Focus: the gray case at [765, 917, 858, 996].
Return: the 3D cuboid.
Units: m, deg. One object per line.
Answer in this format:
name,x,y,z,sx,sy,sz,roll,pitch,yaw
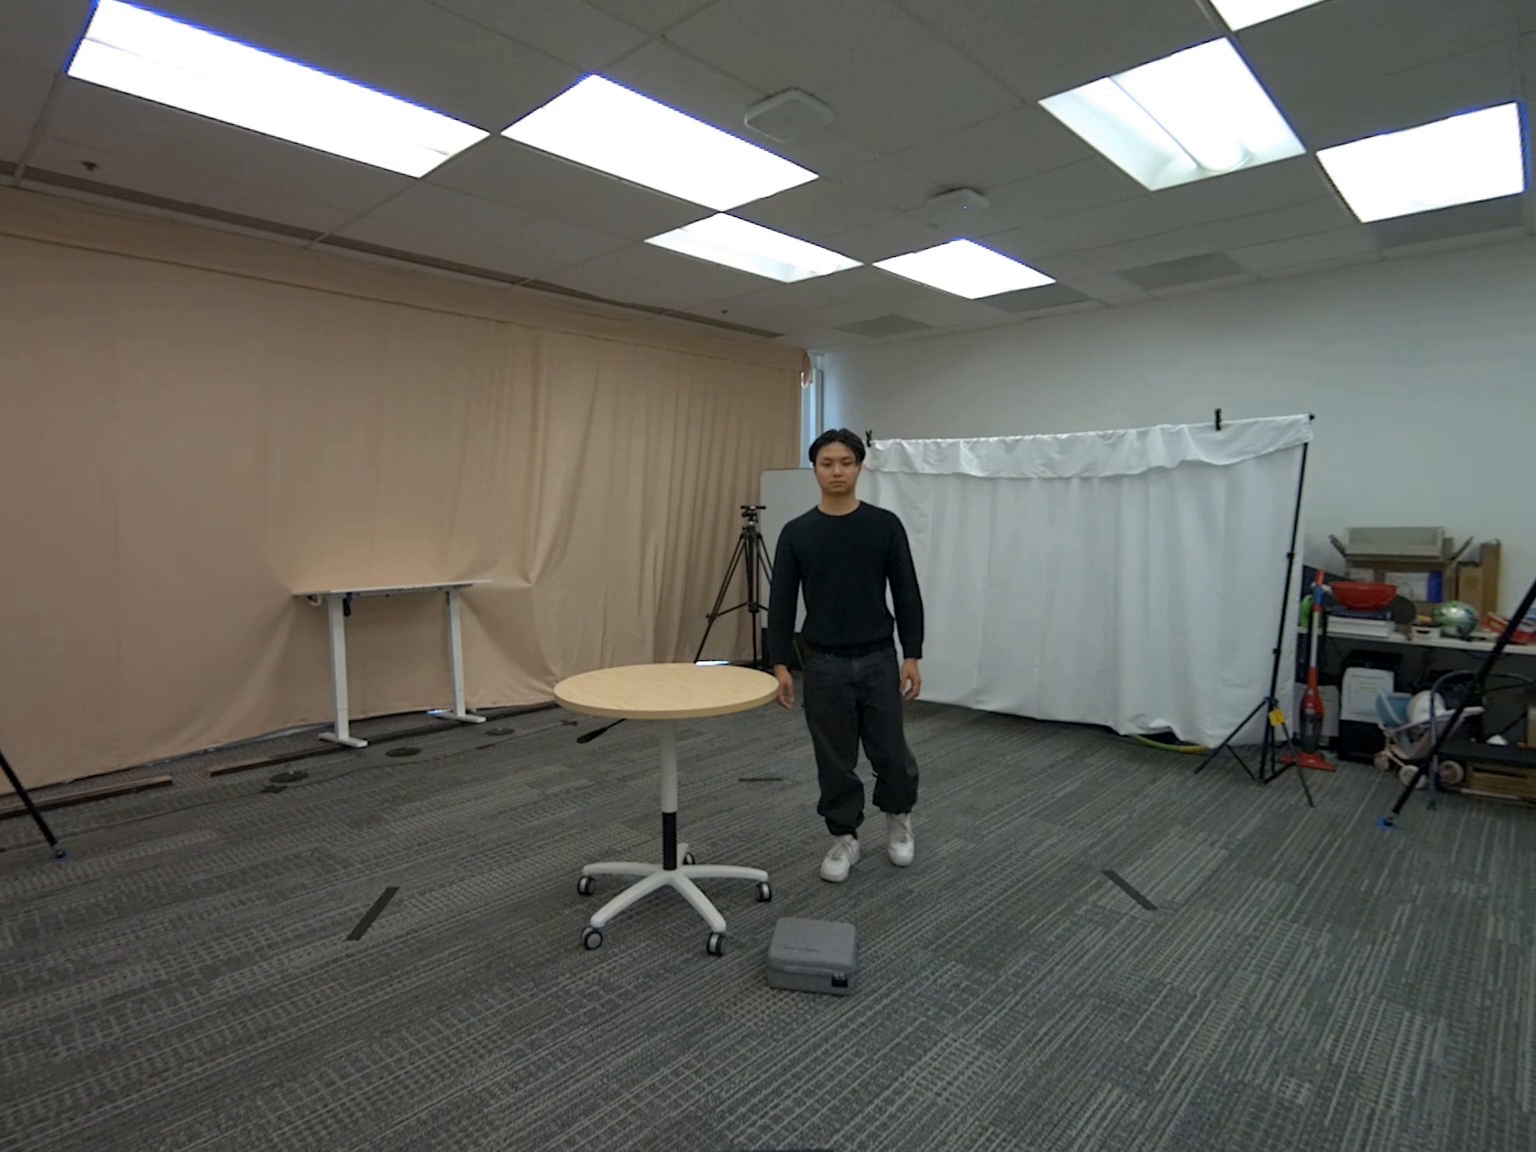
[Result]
gray case,0.133,1.121,2.520,0.260,0.104,0.258,0,3,10
